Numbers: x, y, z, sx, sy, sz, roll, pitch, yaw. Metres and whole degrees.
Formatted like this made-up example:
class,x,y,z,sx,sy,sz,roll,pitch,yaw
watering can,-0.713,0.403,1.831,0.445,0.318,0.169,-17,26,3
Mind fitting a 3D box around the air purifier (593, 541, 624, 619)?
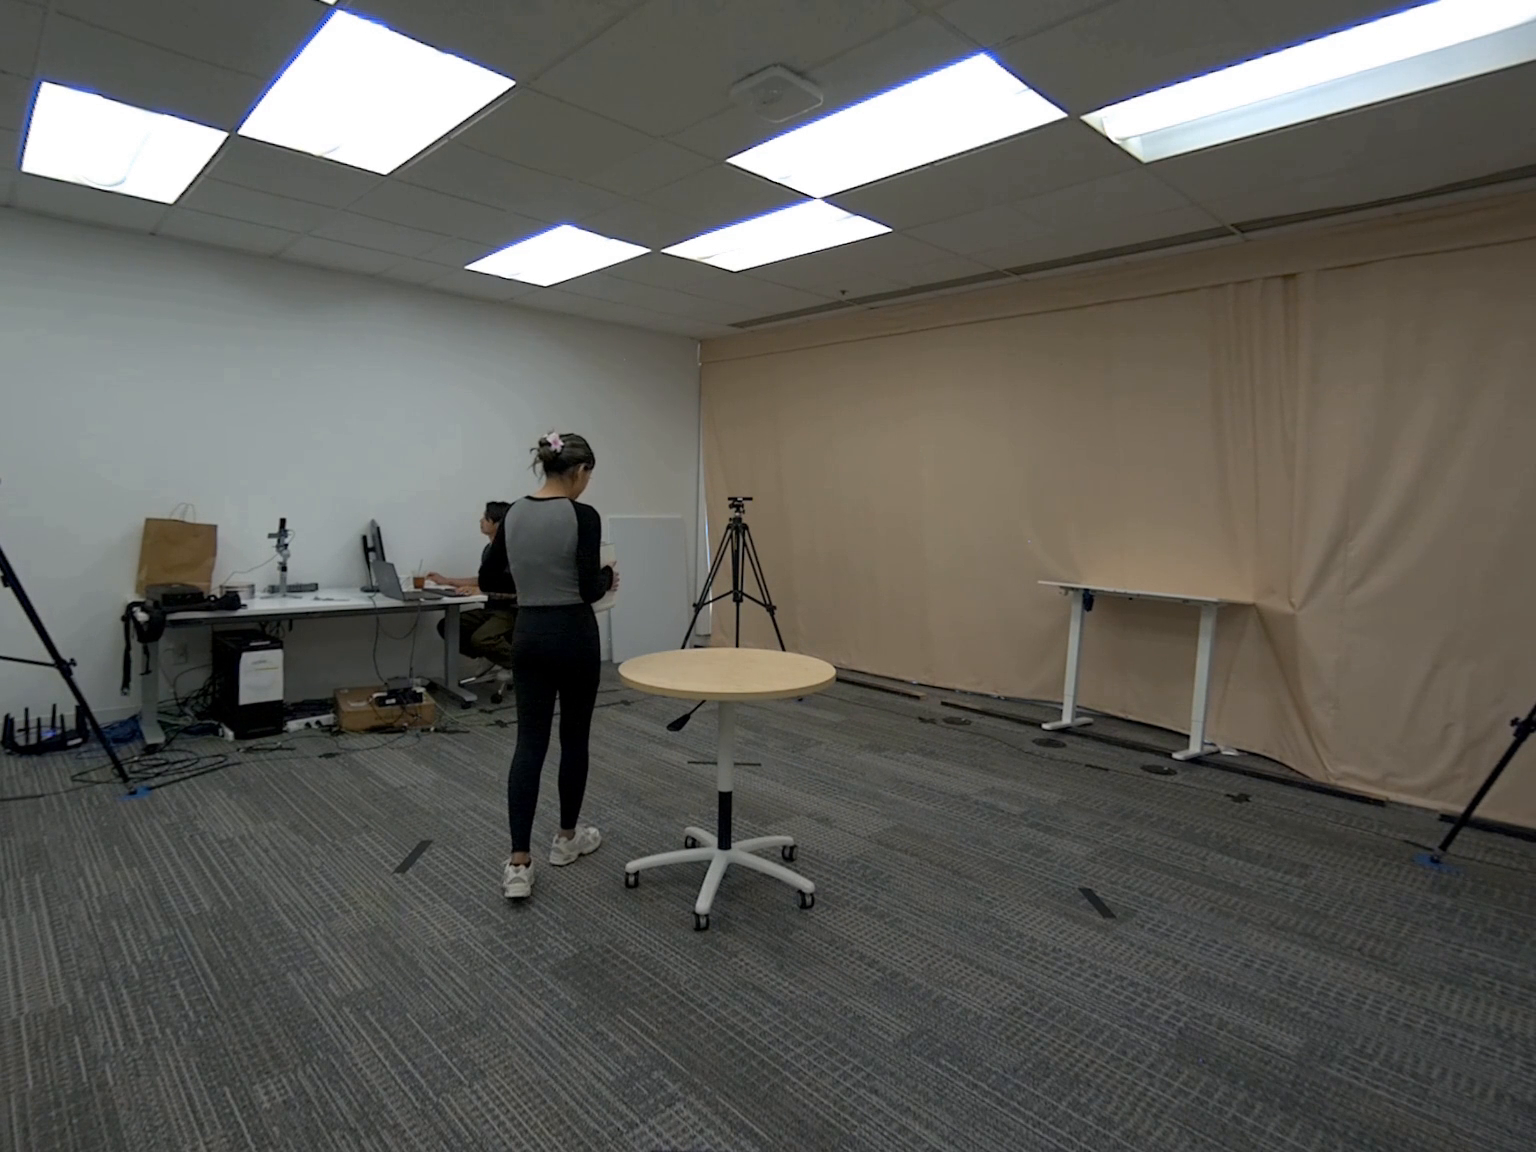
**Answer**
class,x,y,z,sx,sy,sz,roll,pitch,yaw
air purifier,-0.685,0.006,3.265,0.174,0.264,0.169,3,9,27
